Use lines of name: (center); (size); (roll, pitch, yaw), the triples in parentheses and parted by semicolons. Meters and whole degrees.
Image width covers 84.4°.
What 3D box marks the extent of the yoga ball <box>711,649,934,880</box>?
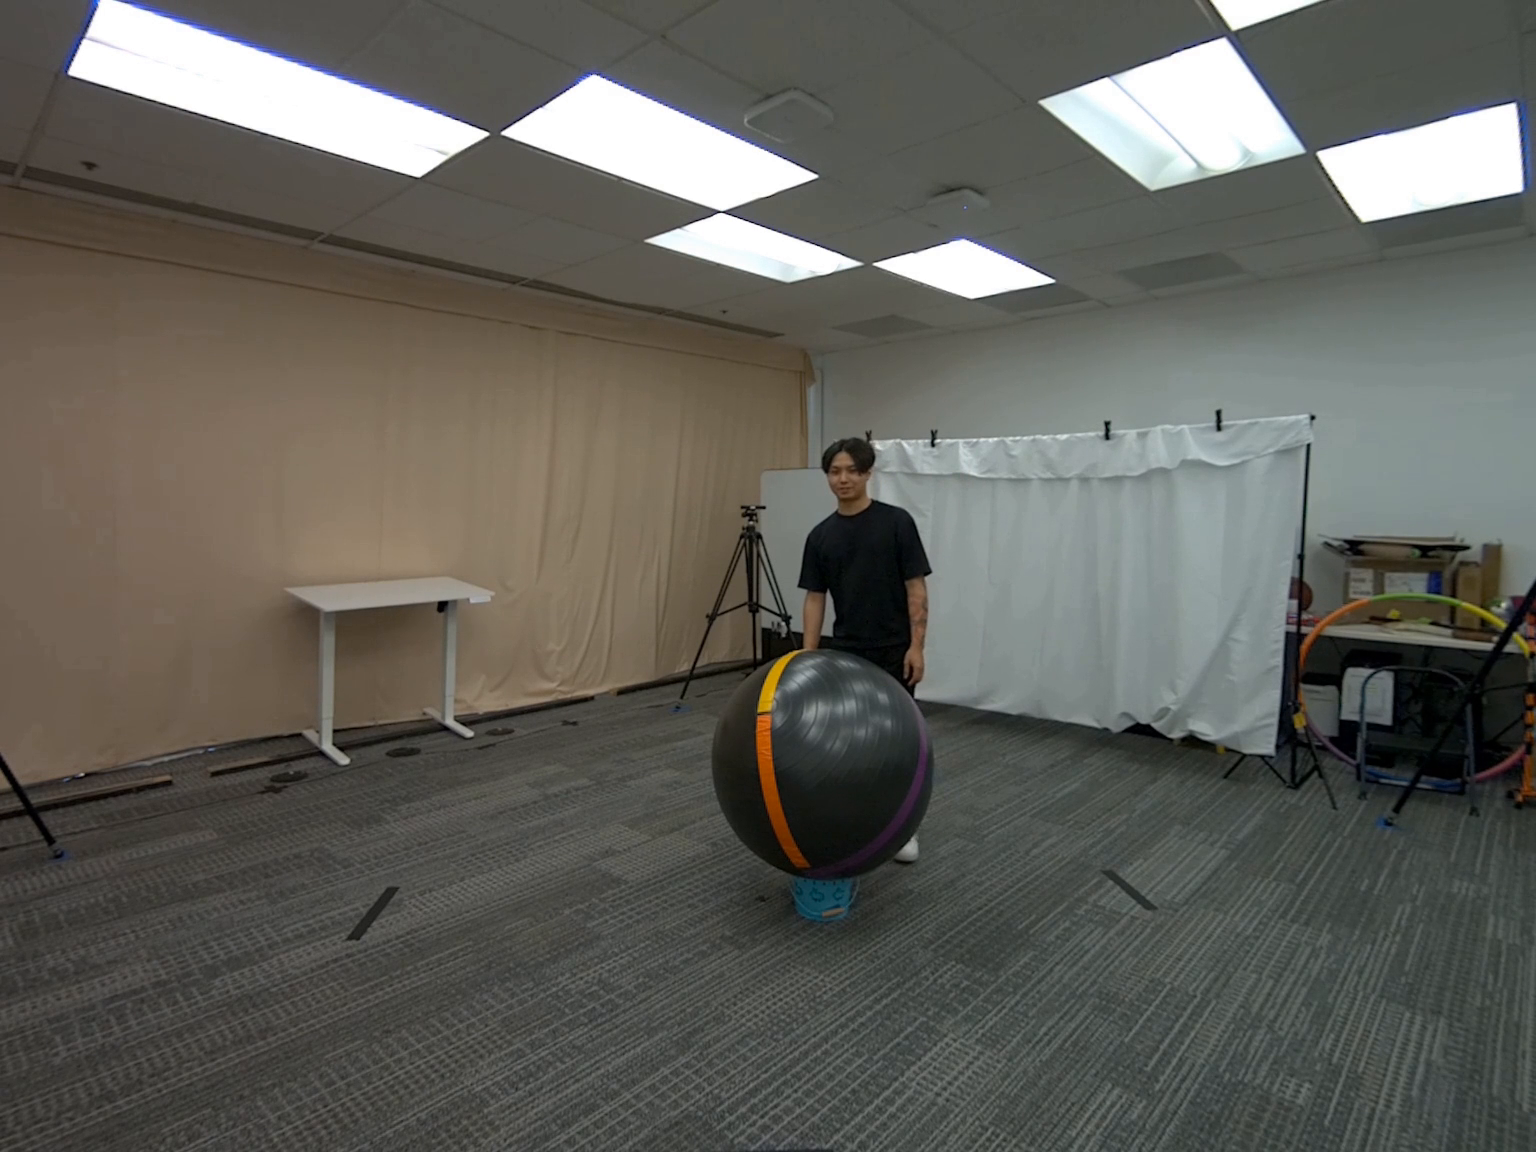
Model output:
yoga ball: (0.189, 0.638, 2.889); (0.757, 0.756, 0.760); (0, 4, -2)
